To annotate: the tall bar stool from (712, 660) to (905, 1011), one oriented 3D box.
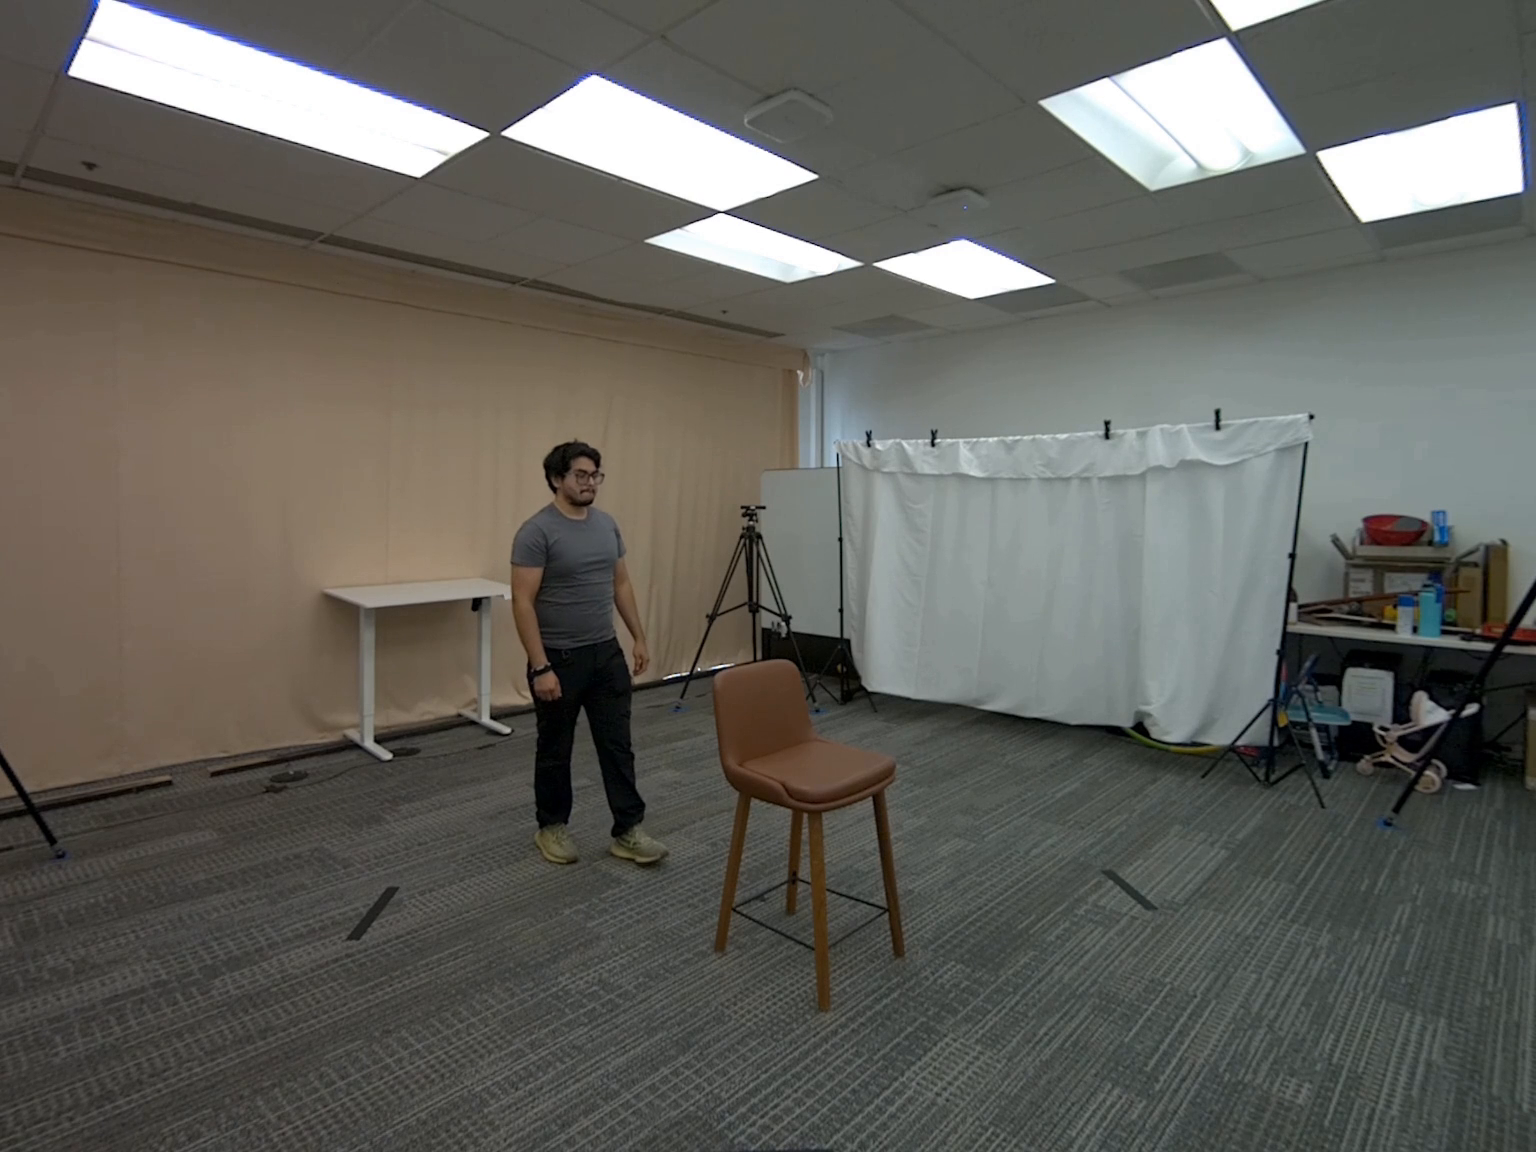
[{"bbox_3d":[0.121,0.742,2.595,0.483,0.888,0.442,1,3,43],"label":"tall bar stool"}]
